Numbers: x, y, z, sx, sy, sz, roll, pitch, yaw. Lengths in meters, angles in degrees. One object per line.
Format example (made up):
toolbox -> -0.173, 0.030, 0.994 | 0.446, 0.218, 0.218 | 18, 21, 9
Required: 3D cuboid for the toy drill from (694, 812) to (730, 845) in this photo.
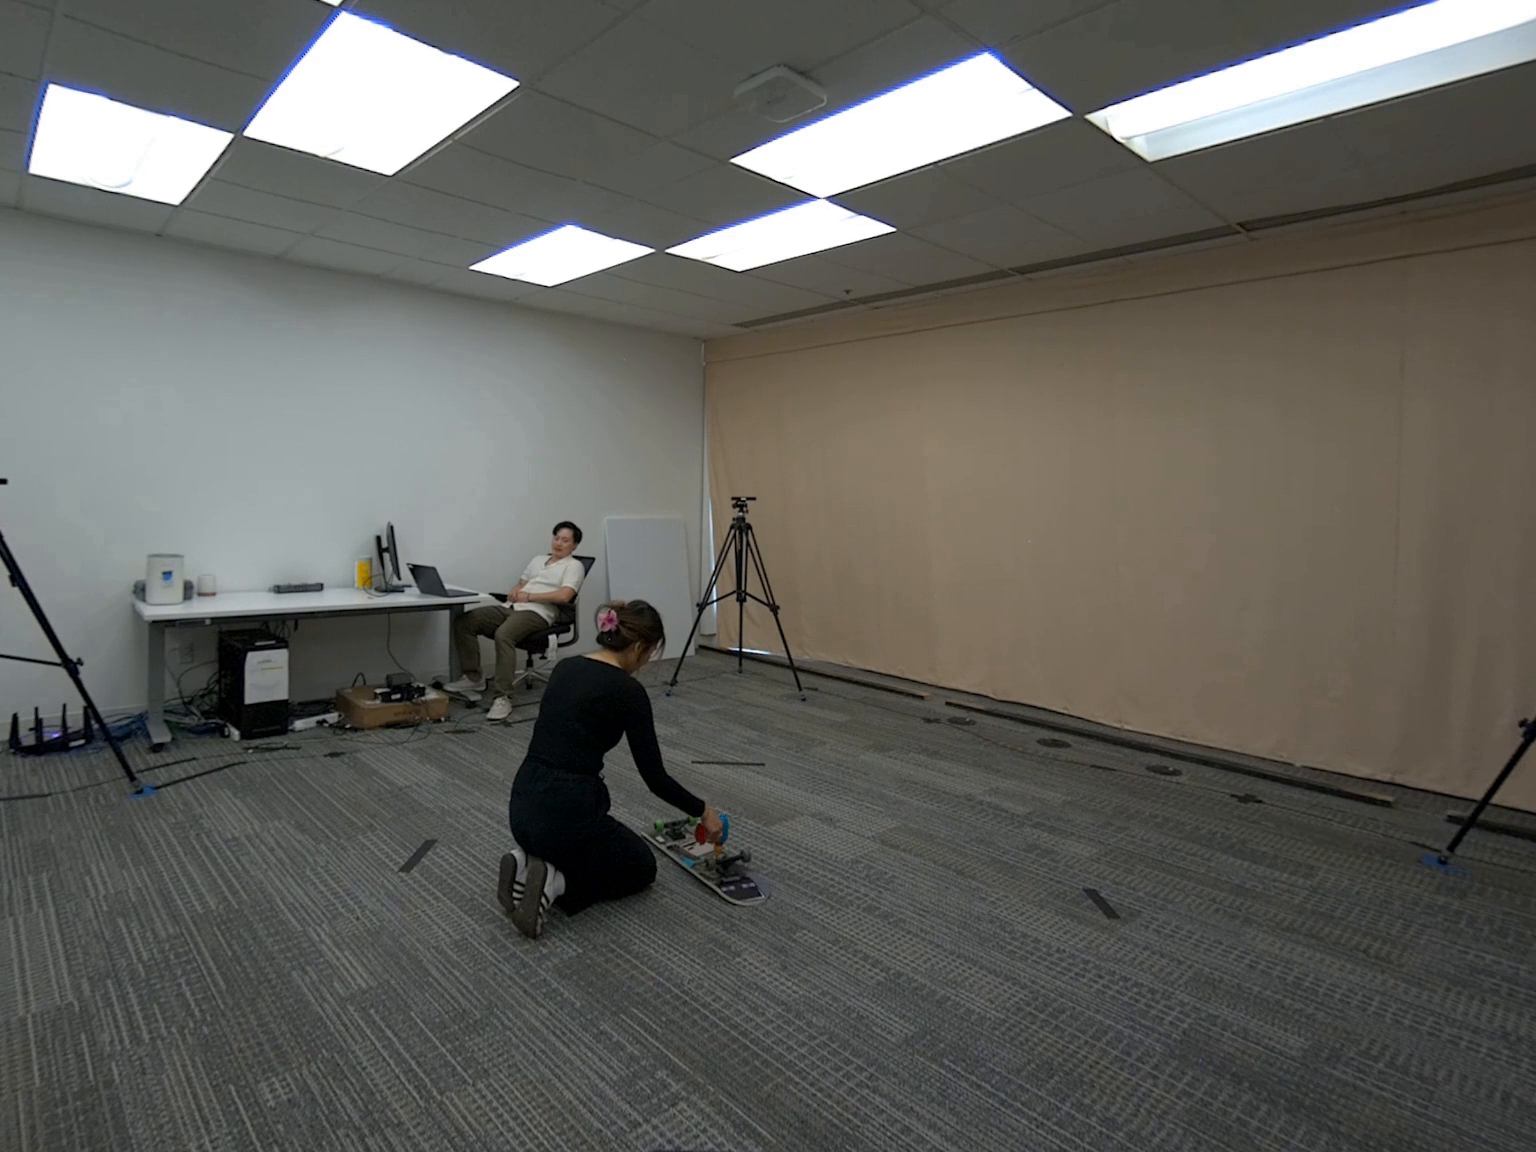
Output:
toy drill -> -0.210, 0.949, 3.026 | 0.063, 0.169, 0.142 | 14, 7, 37
